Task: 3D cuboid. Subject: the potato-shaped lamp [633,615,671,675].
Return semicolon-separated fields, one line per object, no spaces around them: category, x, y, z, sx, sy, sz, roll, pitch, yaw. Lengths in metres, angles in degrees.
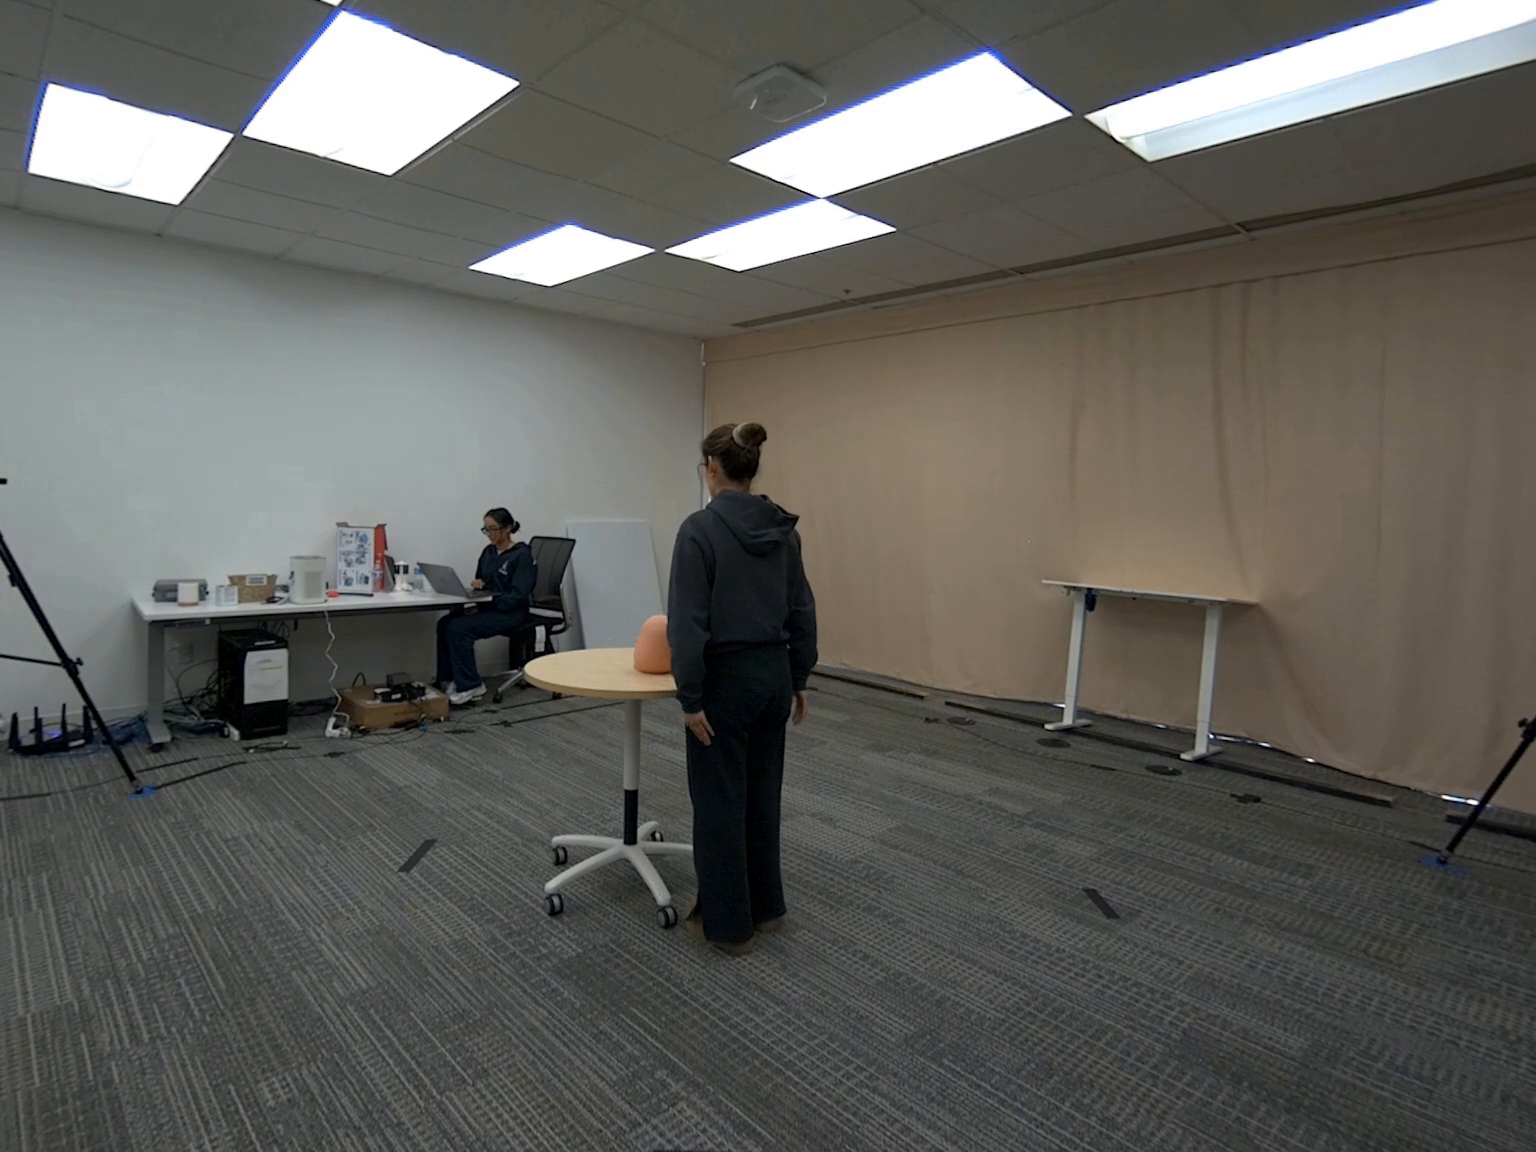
potato-shaped lamp;-0.390;0.234;2.943;0.176;0.197;0.161;6;6;40
